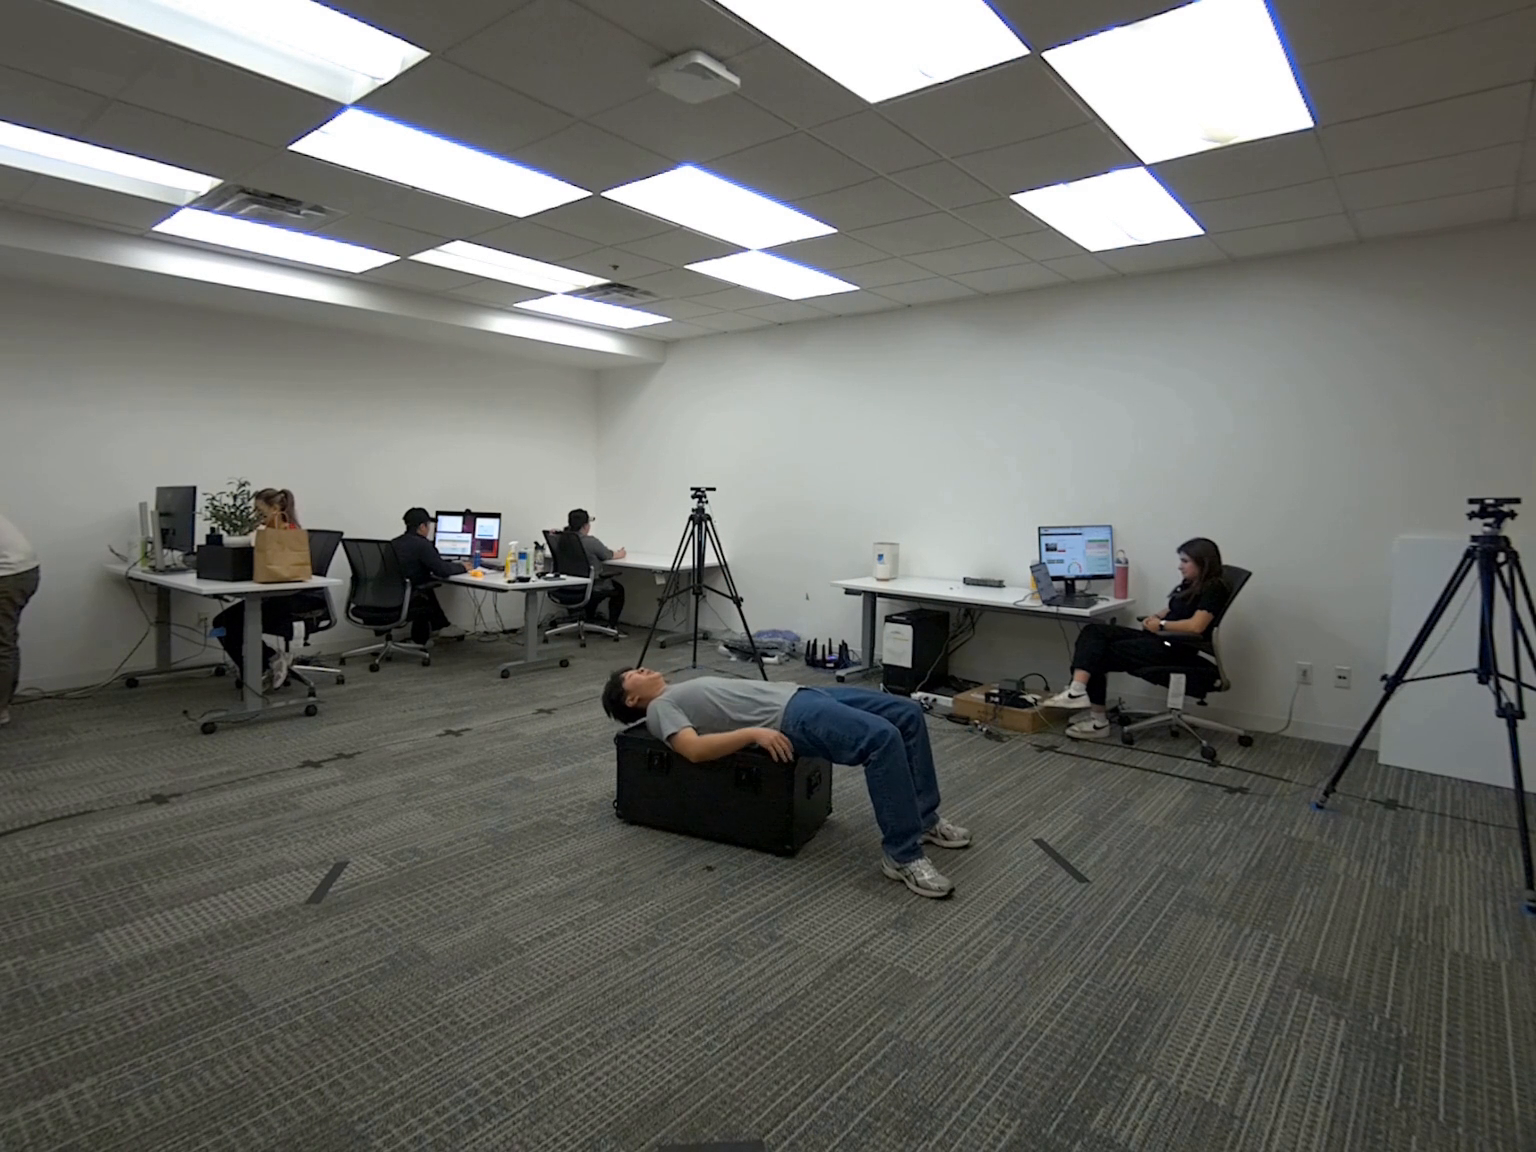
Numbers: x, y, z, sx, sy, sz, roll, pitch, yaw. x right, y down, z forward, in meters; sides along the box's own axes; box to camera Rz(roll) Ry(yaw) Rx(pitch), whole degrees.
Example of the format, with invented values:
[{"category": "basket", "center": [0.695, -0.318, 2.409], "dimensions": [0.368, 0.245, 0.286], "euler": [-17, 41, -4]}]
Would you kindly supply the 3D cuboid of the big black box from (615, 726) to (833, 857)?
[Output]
[{"category": "big black box", "center": [-0.214, 0.836, 3.572], "dimensions": [0.884, 0.394, 0.510], "euler": [4, 7, 24]}]
